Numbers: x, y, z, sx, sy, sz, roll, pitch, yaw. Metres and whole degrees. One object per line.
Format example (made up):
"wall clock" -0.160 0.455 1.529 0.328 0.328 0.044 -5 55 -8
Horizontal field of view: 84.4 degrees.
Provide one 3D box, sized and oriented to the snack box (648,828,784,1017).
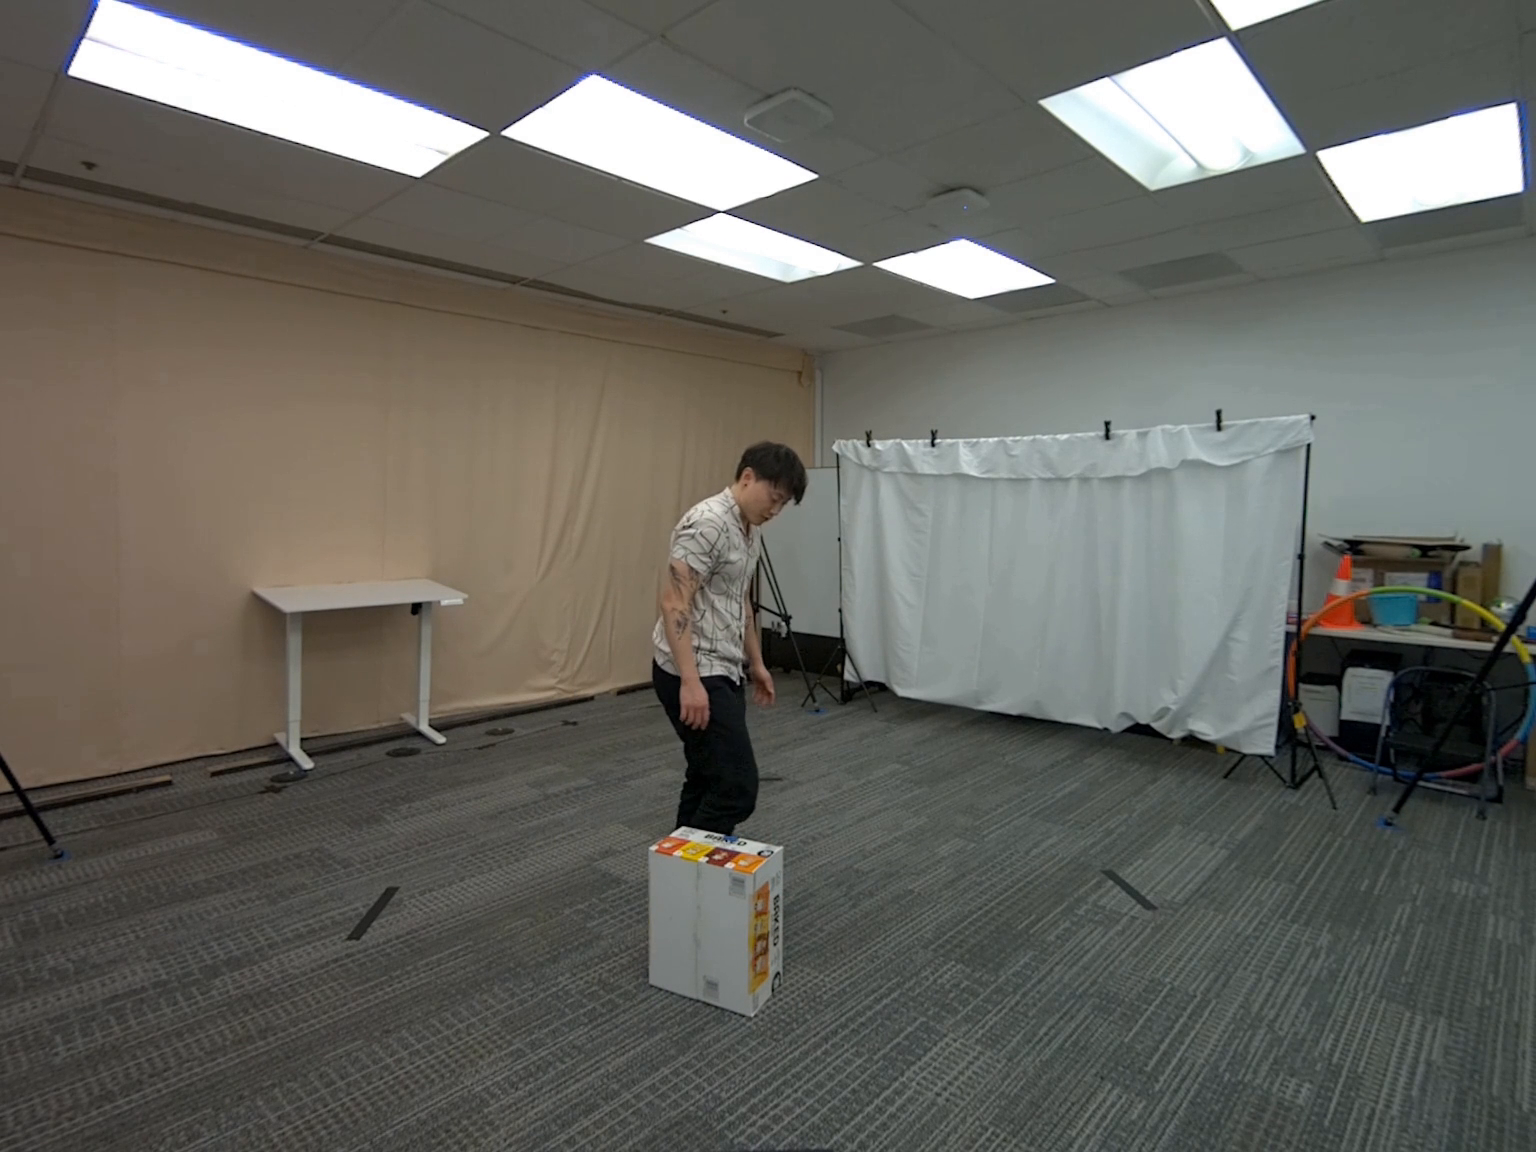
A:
"snack box" -0.149 0.985 2.440 0.350 0.404 0.200 2 3 28
